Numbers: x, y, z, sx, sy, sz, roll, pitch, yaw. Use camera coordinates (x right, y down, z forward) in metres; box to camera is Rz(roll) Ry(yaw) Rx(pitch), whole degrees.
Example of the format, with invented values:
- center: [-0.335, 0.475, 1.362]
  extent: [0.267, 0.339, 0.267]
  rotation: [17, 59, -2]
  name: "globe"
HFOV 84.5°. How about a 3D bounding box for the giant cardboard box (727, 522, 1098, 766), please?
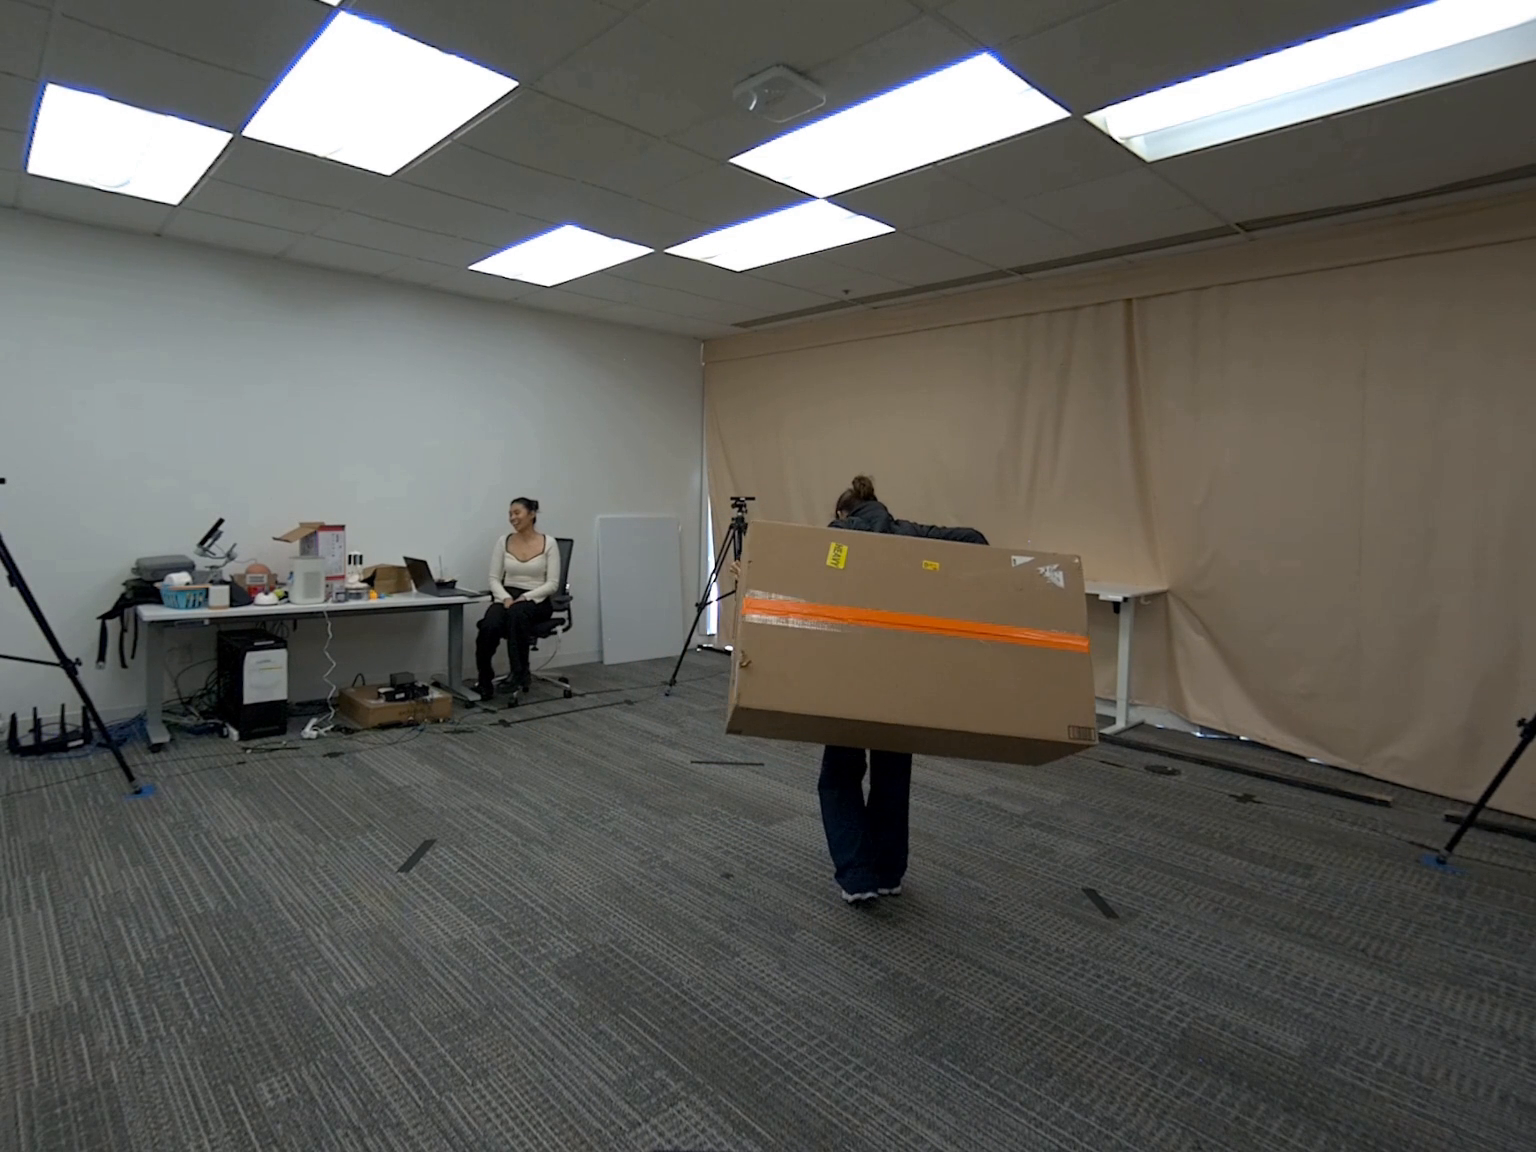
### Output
- center: [0.405, 0.225, 2.620]
  extent: [1.022, 0.586, 0.421]
  rotation: [6, -23, -4]
  name: "giant cardboard box"
